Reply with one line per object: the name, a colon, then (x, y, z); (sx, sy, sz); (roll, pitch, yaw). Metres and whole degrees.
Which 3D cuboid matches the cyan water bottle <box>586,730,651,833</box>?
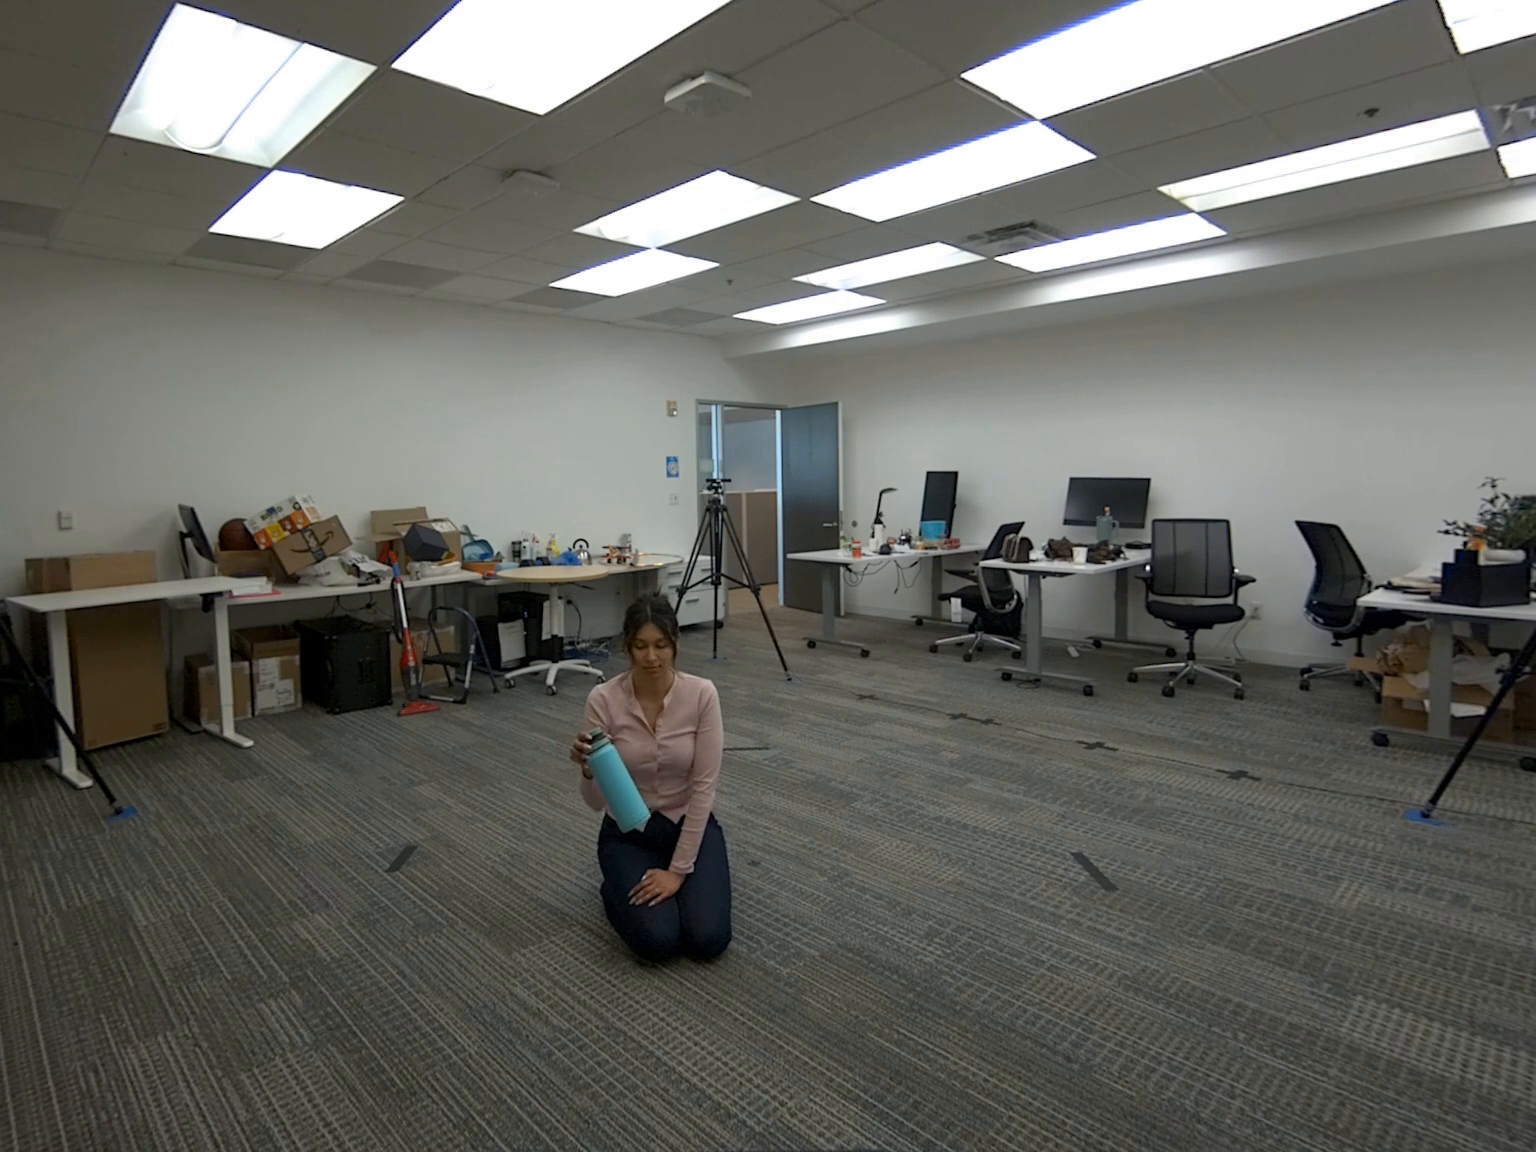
cyan water bottle: (-0.439, 0.563, 2.356); (0.092, 0.285, 0.092); (-26, -4, -3)
